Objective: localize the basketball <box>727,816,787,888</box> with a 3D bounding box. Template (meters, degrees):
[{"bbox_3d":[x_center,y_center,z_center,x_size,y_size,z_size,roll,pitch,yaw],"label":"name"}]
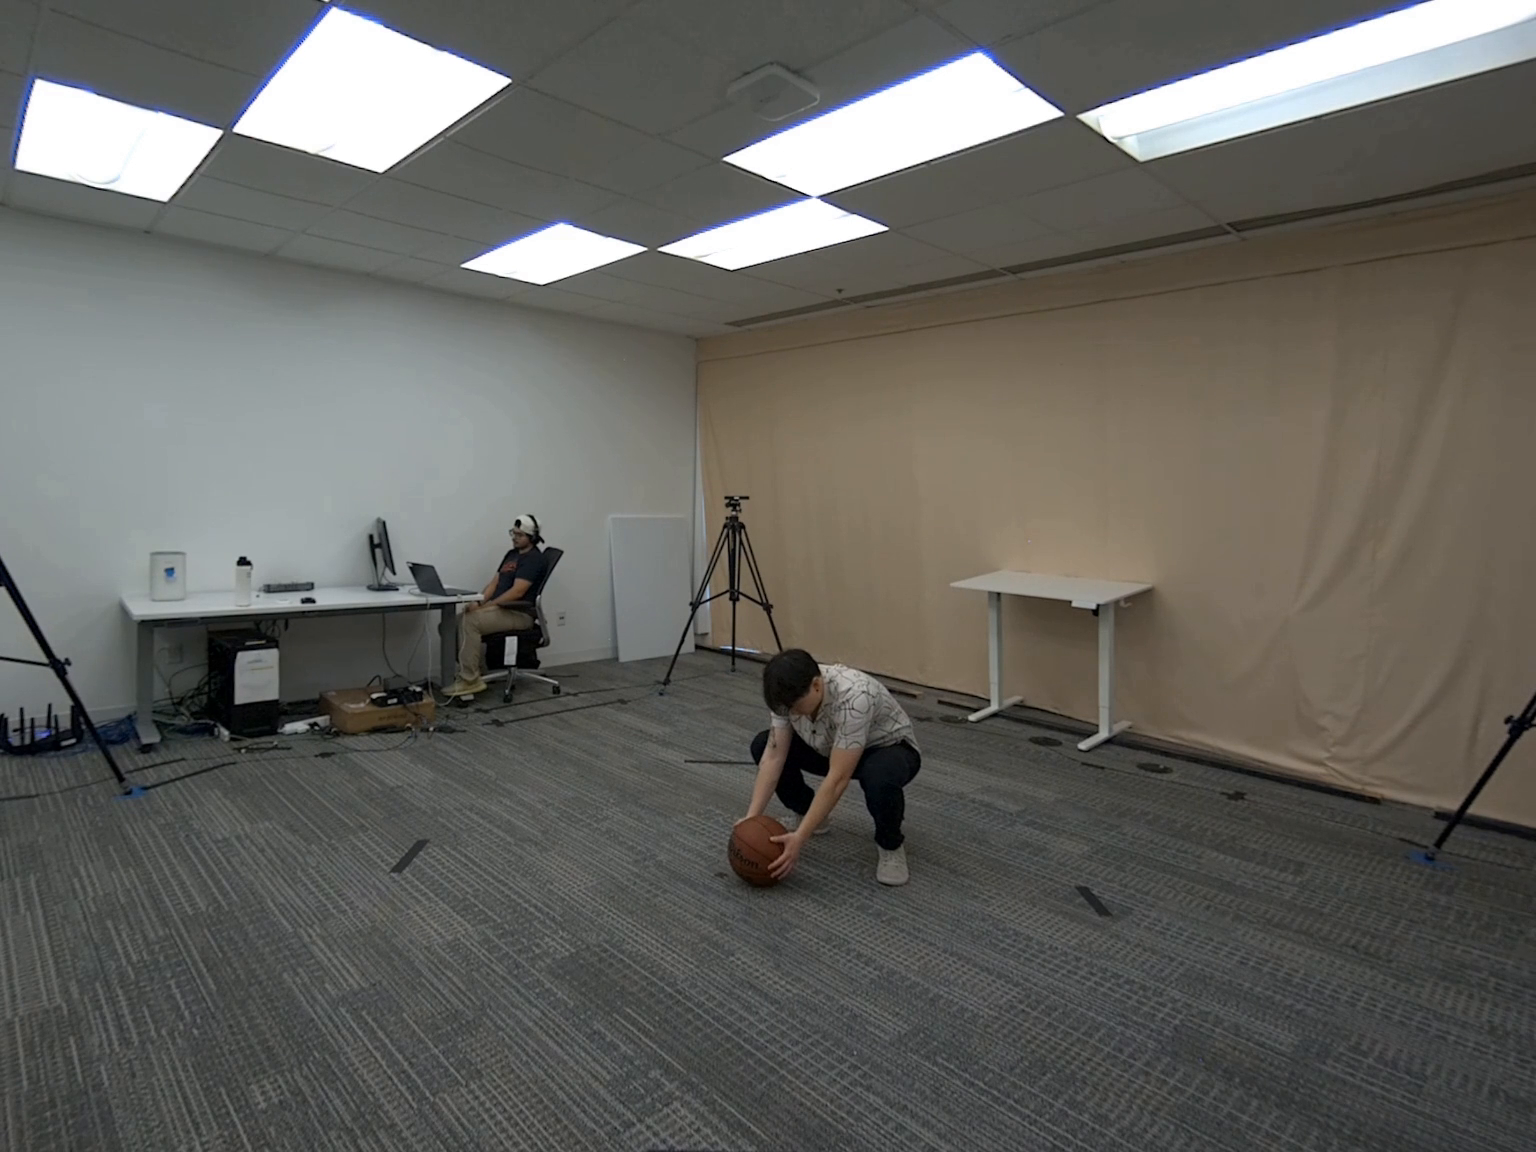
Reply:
[{"bbox_3d":[-0.038,0.981,3.044,0.236,0.235,0.237,1,4,-1],"label":"basketball"}]
